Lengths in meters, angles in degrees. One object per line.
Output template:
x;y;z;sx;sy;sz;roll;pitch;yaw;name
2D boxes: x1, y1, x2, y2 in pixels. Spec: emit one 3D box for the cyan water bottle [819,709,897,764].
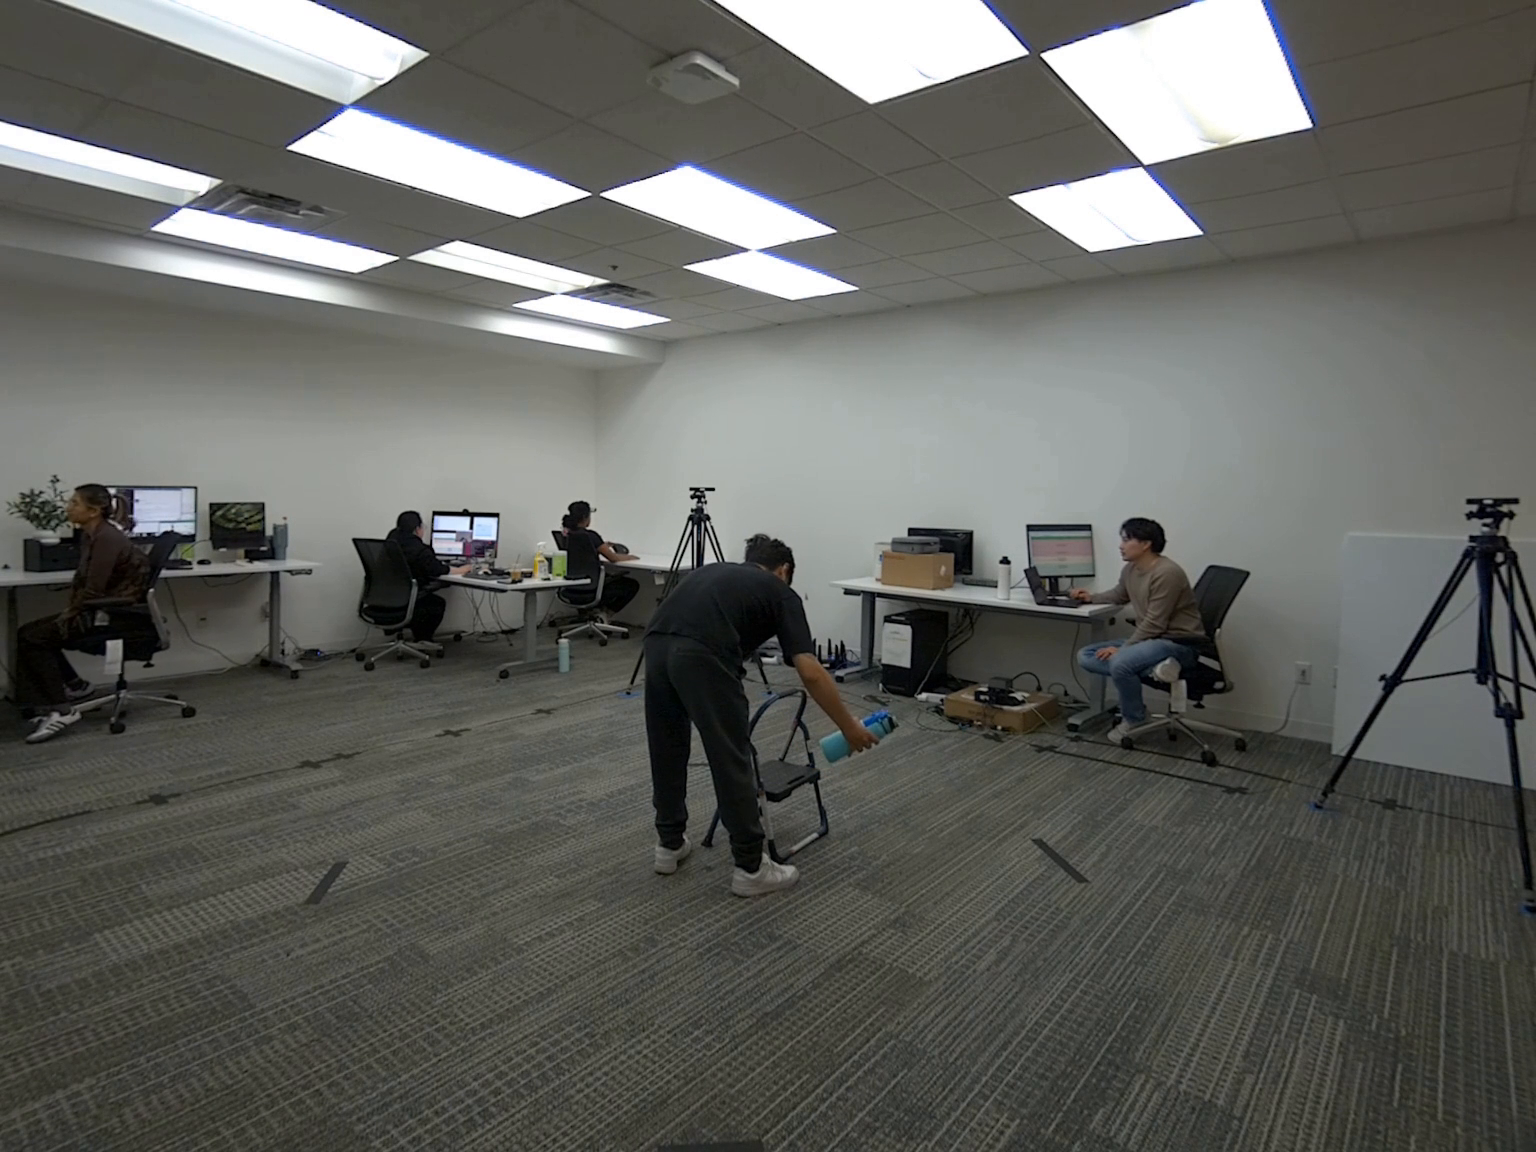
0.317;0.572;3.048;0.285;0.092;0.092;-26;0;9;cyan water bottle
